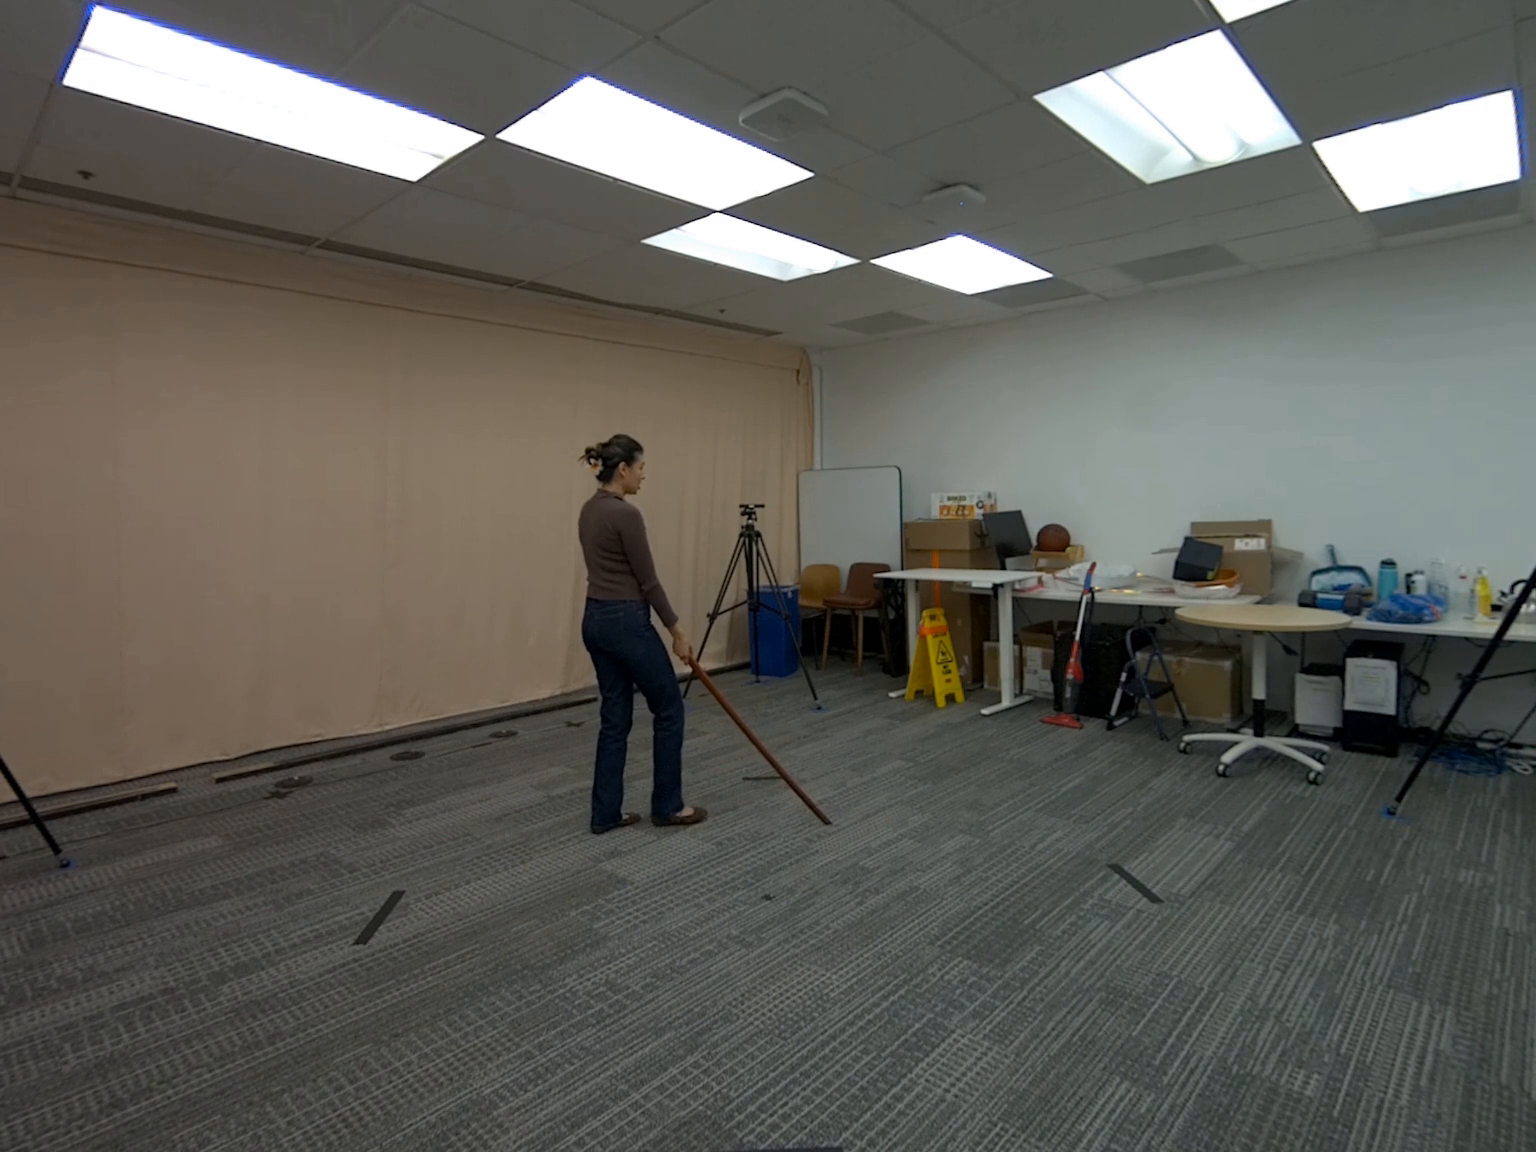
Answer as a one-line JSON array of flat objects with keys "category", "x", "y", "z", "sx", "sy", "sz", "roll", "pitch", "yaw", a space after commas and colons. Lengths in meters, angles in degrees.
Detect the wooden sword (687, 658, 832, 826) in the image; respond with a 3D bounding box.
[{"category": "wooden sword", "x": -0.054, "y": 0.701, "z": 3.647, "sx": 0.024, "sy": 1.020, "sz": 0.052, "roll": -41, "pitch": 4, "yaw": -27}]
